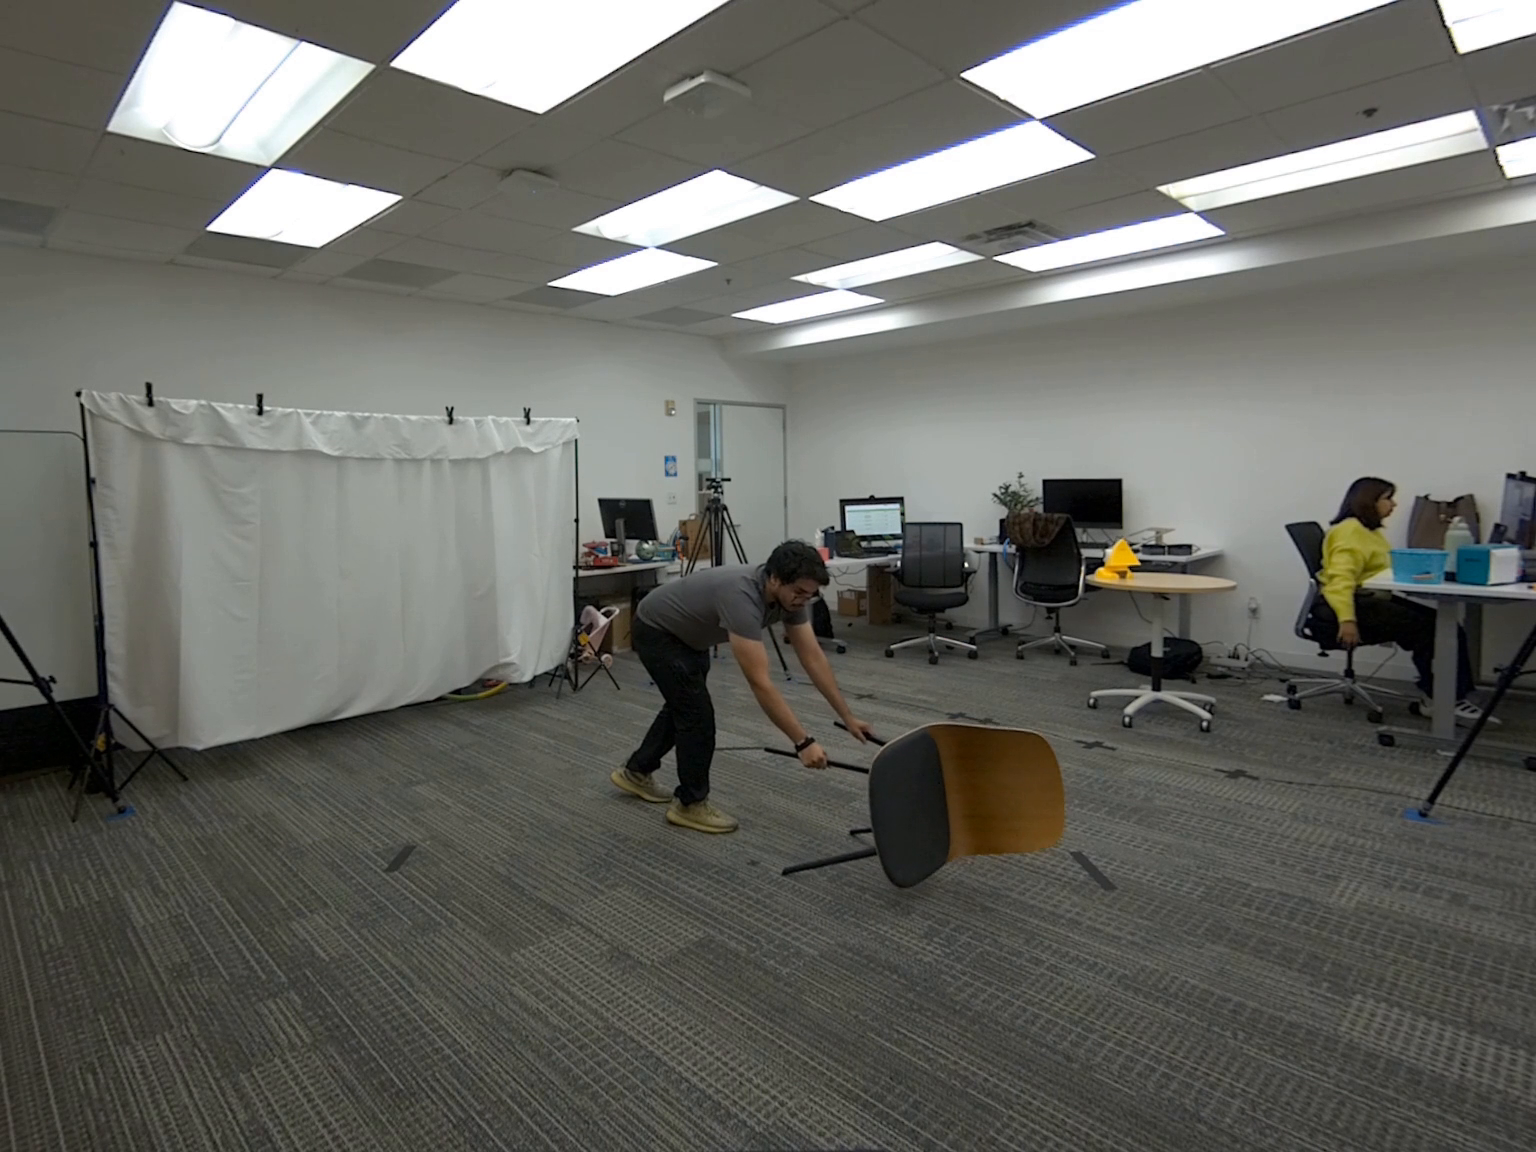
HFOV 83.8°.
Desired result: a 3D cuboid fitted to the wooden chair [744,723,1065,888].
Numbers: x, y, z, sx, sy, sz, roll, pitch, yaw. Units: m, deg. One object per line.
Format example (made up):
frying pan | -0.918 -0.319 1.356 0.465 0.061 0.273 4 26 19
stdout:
wooden chair | 0.484 0.769 2.902 0.898 0.479 0.510 -8 -1 36
